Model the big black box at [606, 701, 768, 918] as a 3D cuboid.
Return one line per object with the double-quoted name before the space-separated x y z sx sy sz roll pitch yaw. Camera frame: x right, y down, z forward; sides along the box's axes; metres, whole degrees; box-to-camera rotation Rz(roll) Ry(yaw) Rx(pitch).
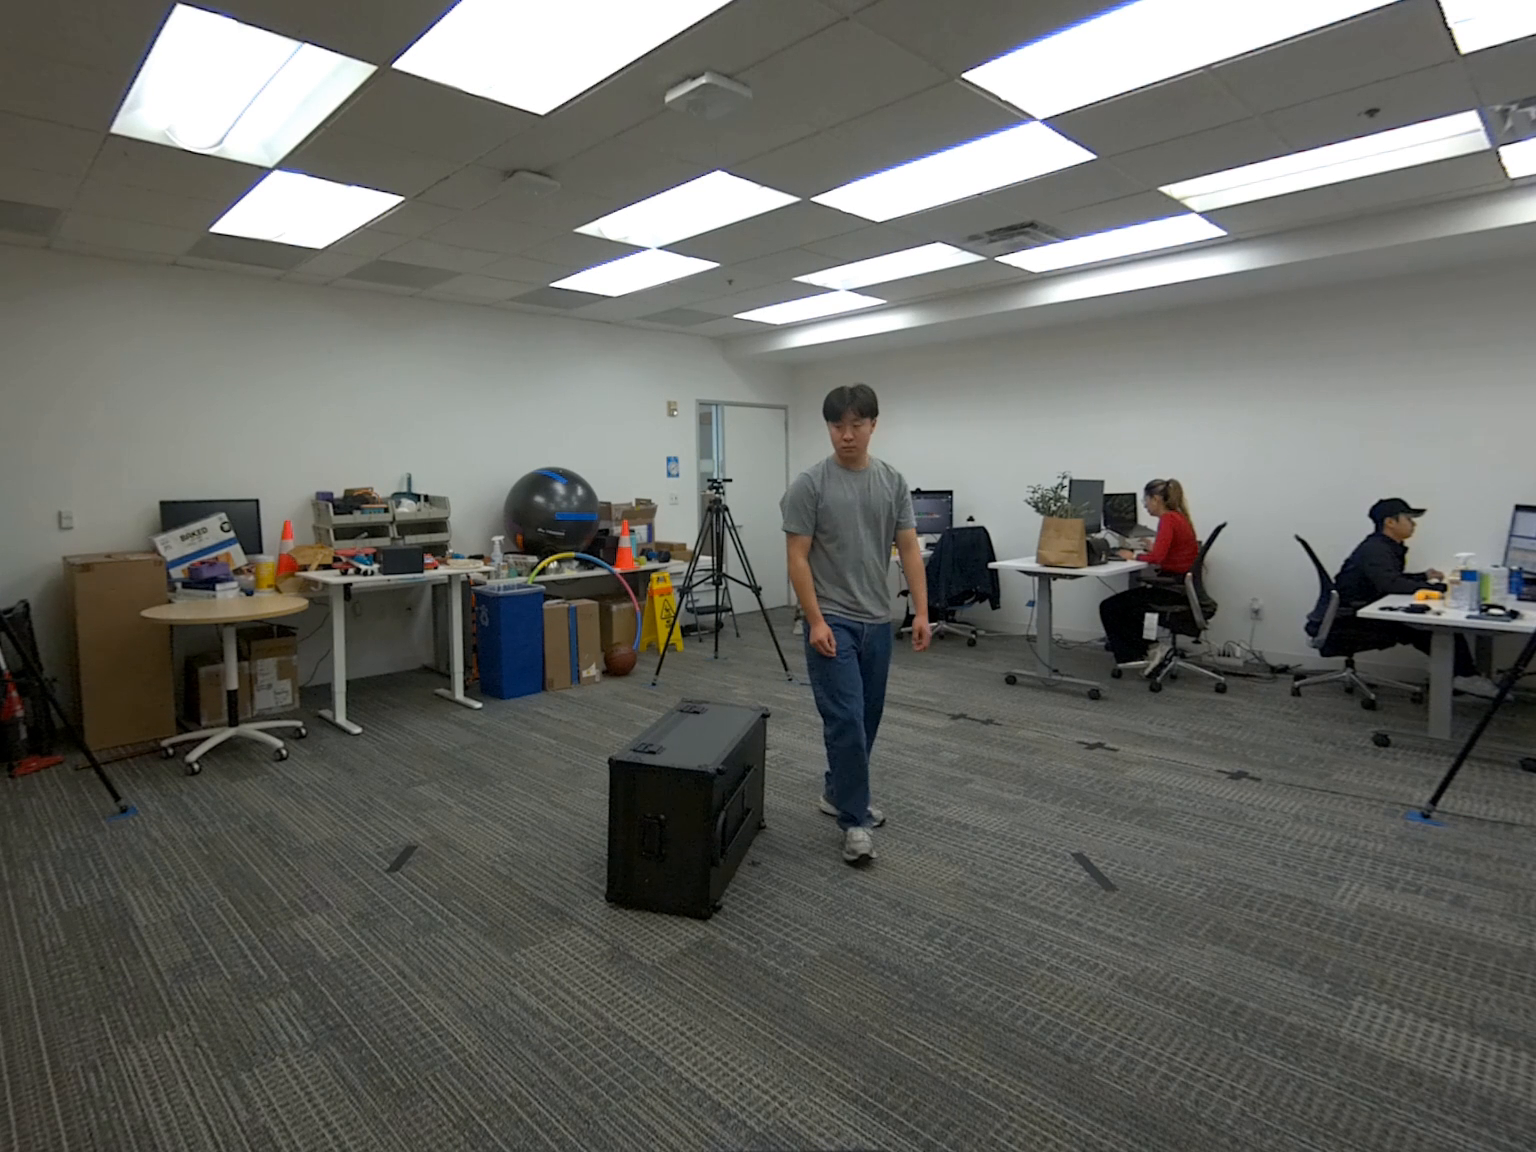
"big black box" -0.246 0.786 3.132 0.402 0.519 0.853 3 6 12
